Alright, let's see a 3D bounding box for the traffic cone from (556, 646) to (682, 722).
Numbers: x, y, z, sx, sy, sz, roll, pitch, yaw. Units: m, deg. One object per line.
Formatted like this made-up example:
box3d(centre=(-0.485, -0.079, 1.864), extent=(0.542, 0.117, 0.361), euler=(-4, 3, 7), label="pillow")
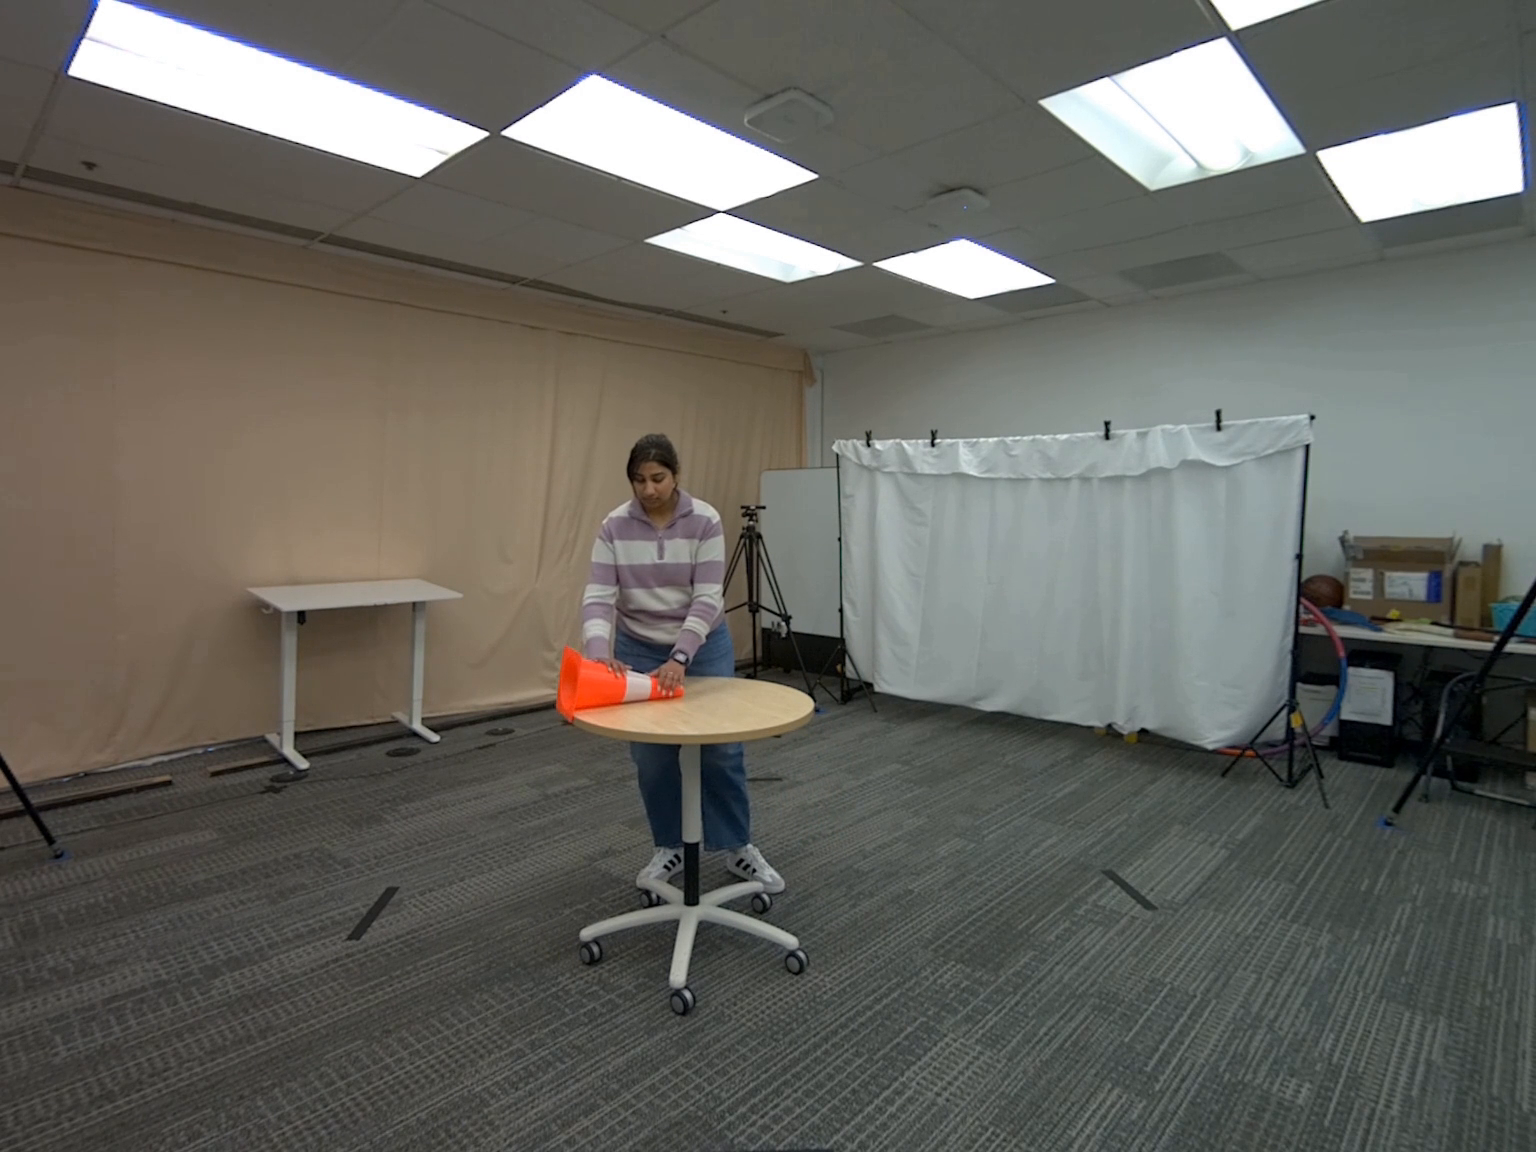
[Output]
box3d(centre=(-0.426, 0.342, 2.604), extent=(0.373, 0.203, 0.210), euler=(8, 1, -26), label="traffic cone")
